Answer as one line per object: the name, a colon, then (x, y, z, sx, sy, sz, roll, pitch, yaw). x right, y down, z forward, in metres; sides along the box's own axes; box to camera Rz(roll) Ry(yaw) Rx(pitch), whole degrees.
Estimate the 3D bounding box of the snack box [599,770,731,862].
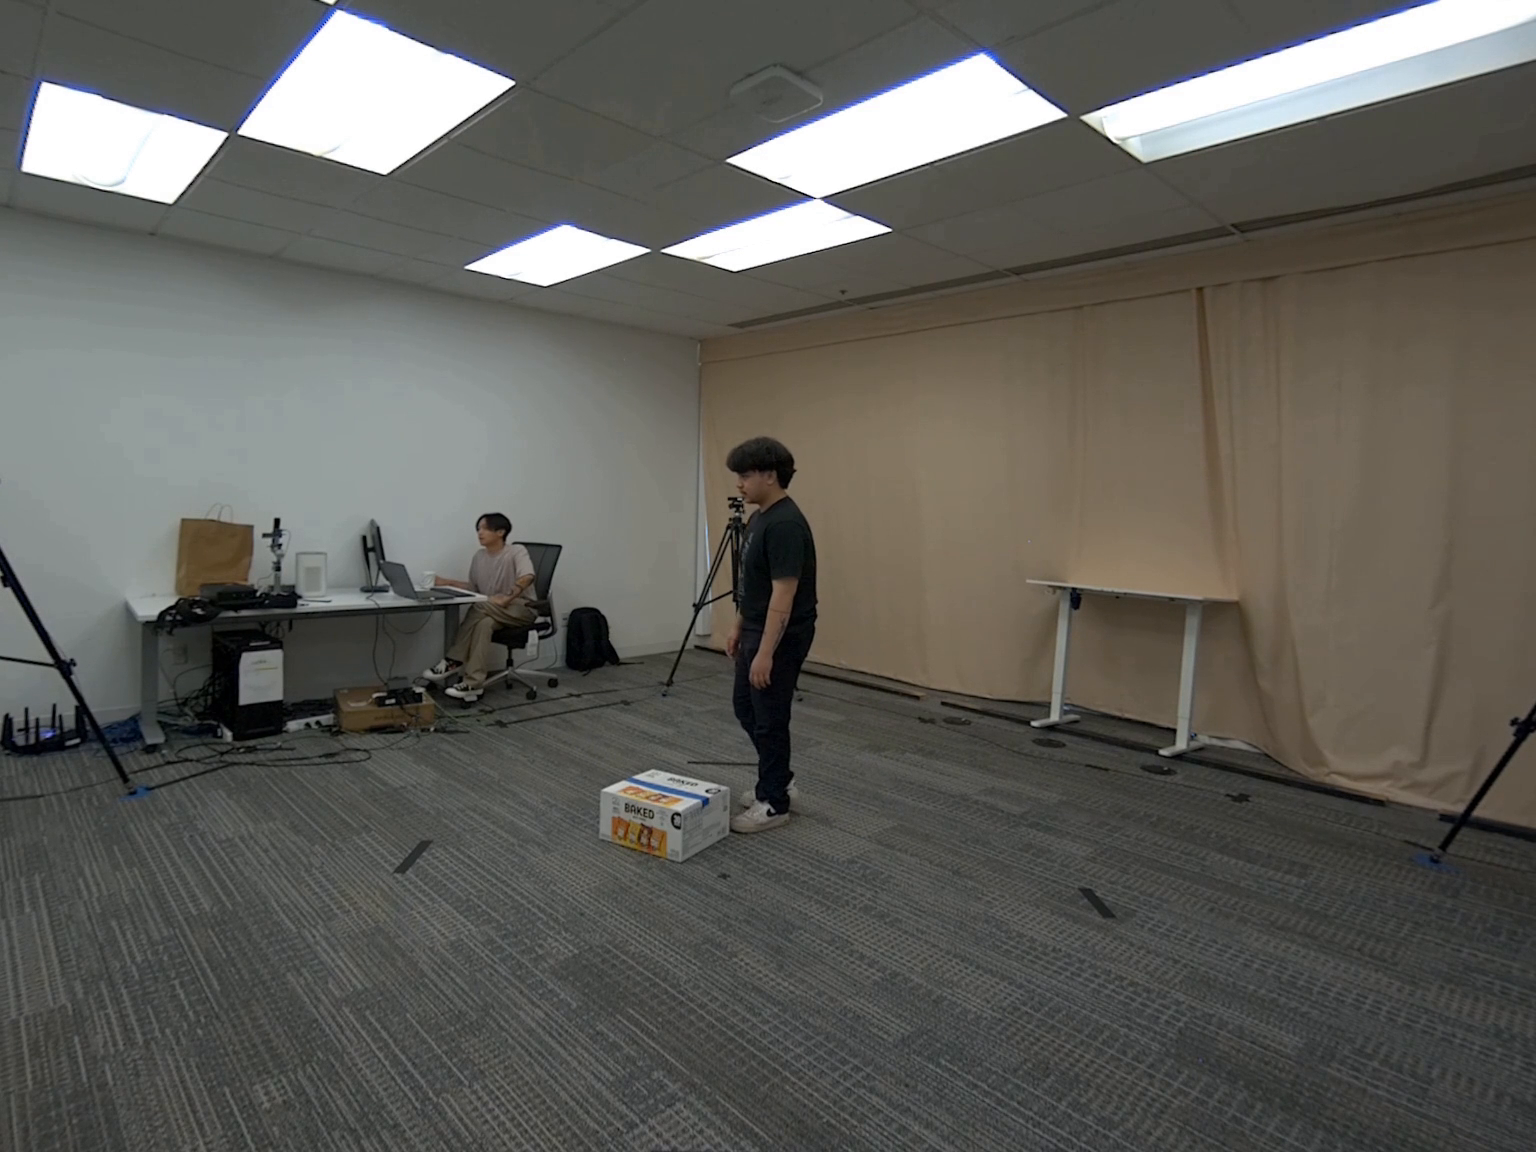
snack box: (-0.427, 0.968, 3.437, 0.414, 0.205, 0.333, 4, 5, 31)
